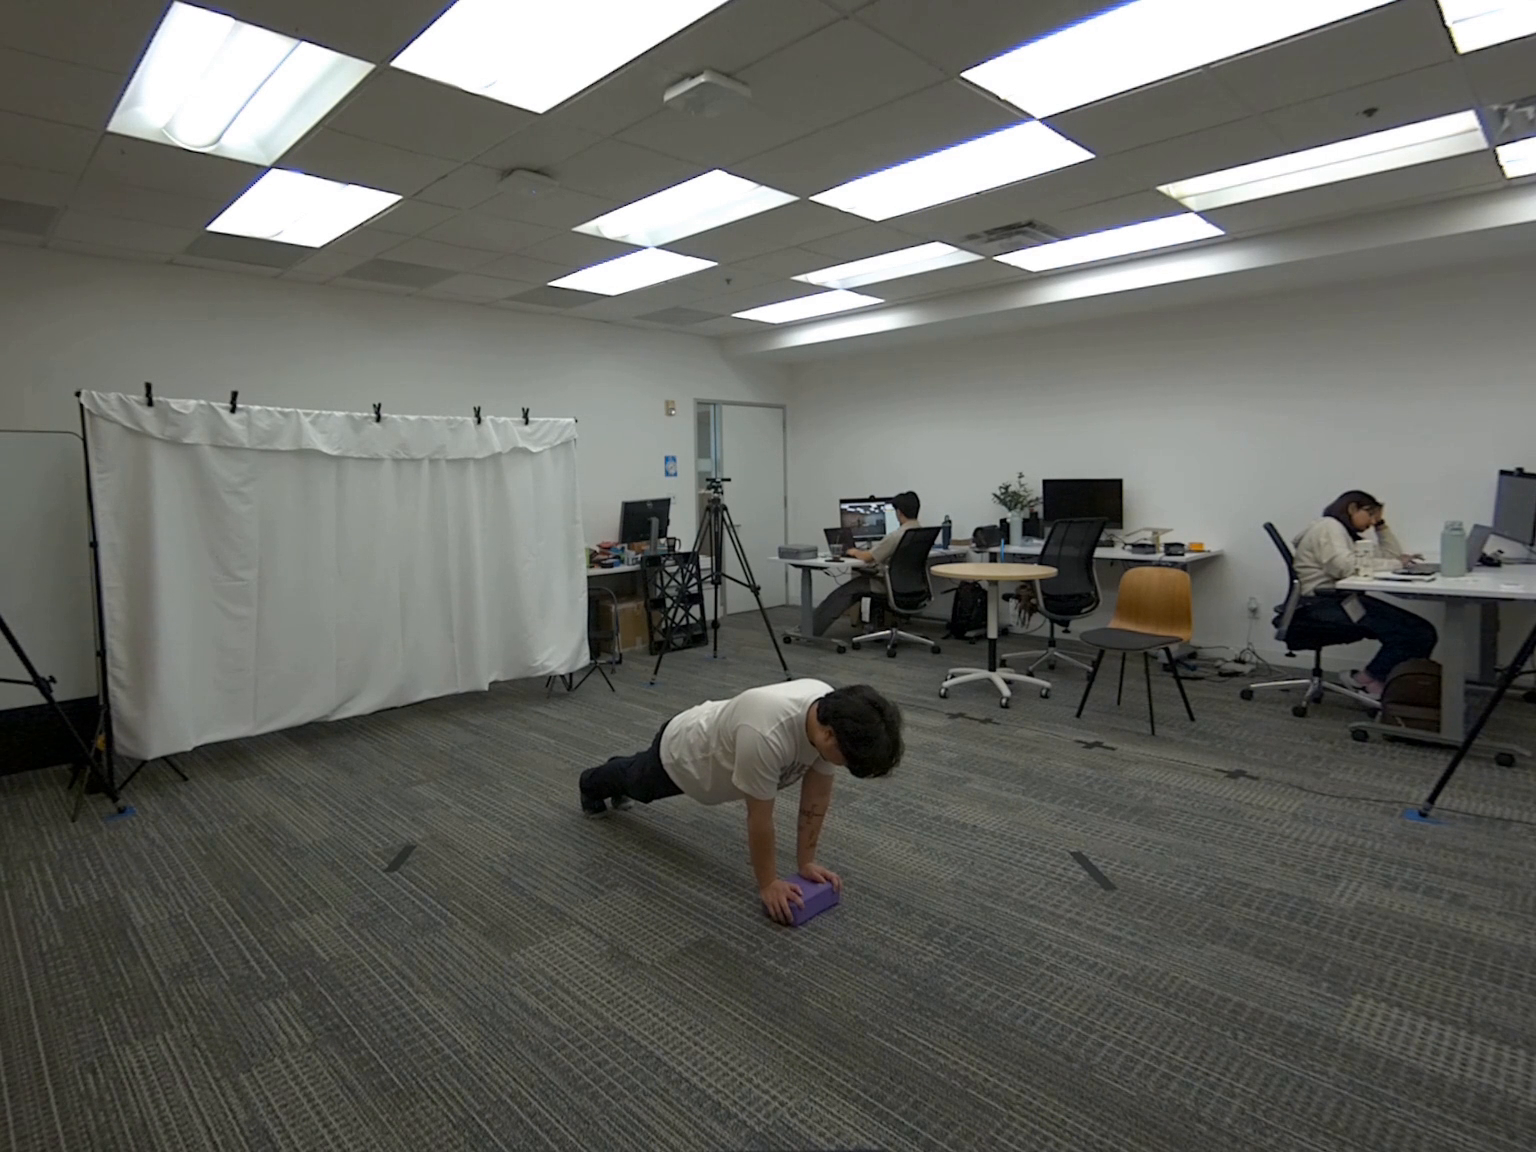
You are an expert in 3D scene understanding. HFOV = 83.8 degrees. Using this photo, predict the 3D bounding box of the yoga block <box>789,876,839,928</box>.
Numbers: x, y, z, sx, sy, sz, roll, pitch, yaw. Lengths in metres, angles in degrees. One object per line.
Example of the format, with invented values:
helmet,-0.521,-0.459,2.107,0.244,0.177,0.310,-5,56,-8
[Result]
yoga block,0.111,1.045,2.776,0.153,0.076,0.223,5,8,44
